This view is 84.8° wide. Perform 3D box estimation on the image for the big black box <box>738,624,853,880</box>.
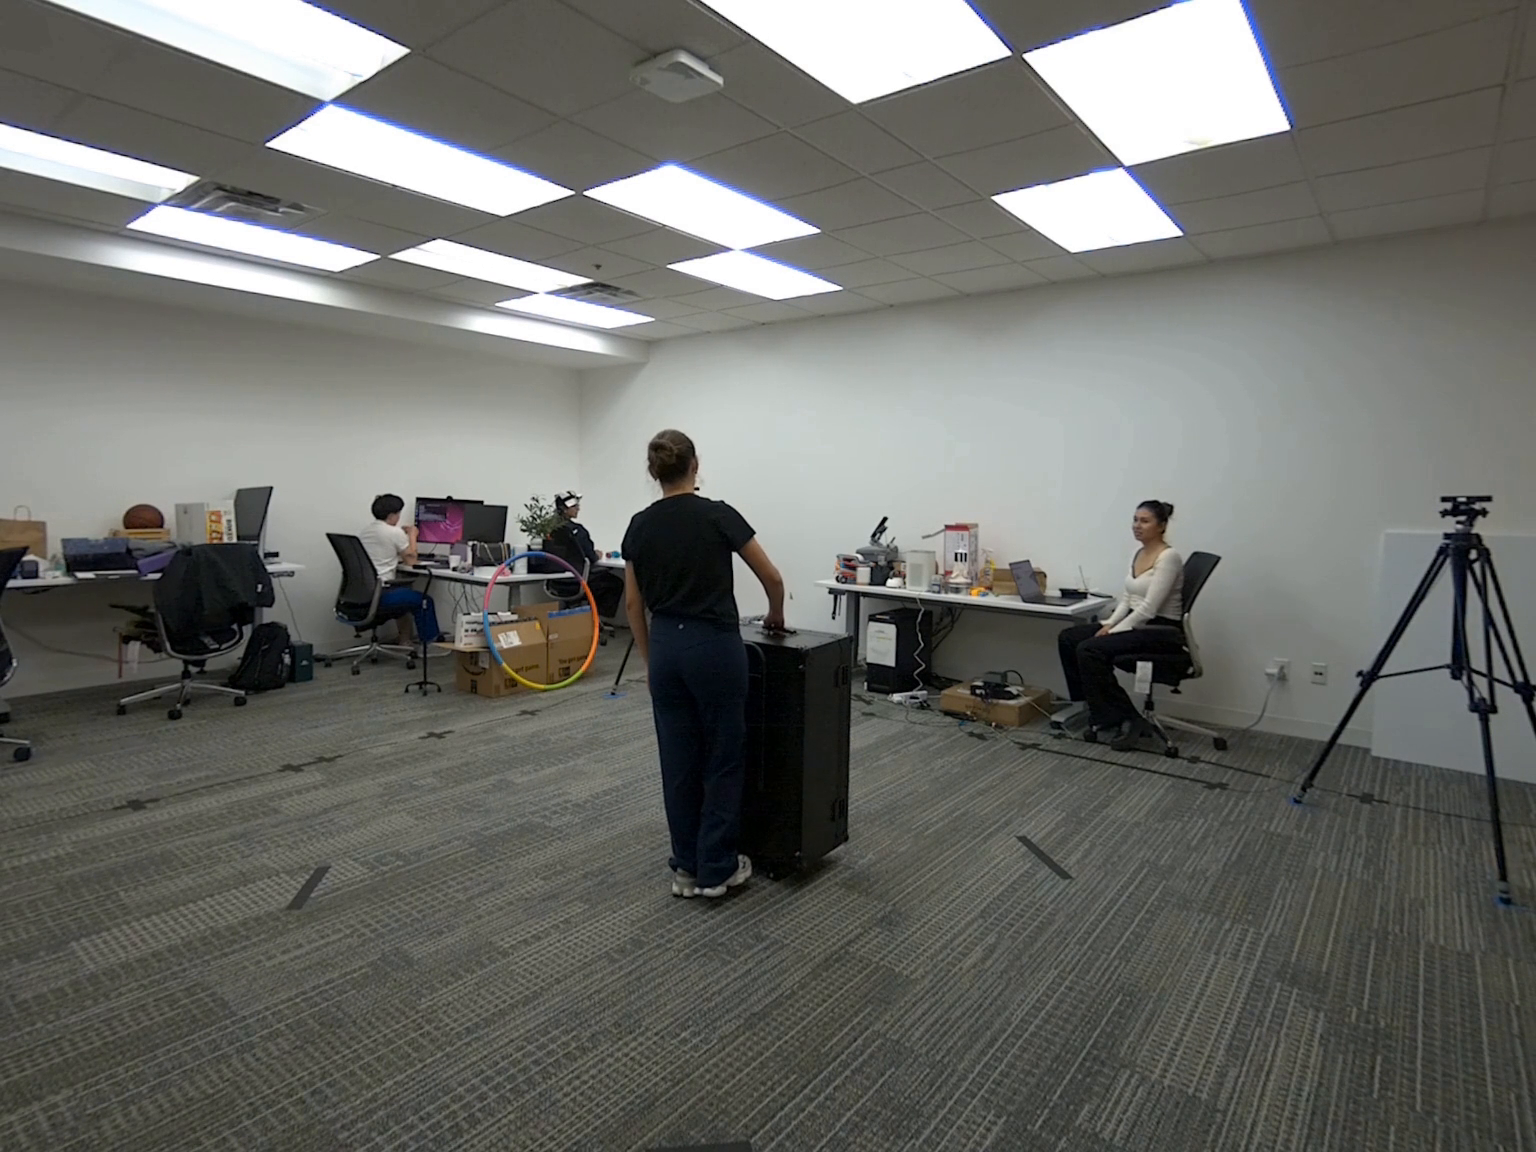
[{"bbox_3d":[0.030,0.636,3.205,0.538,0.859,0.385,3,4,35],"label":"big black box"}]
